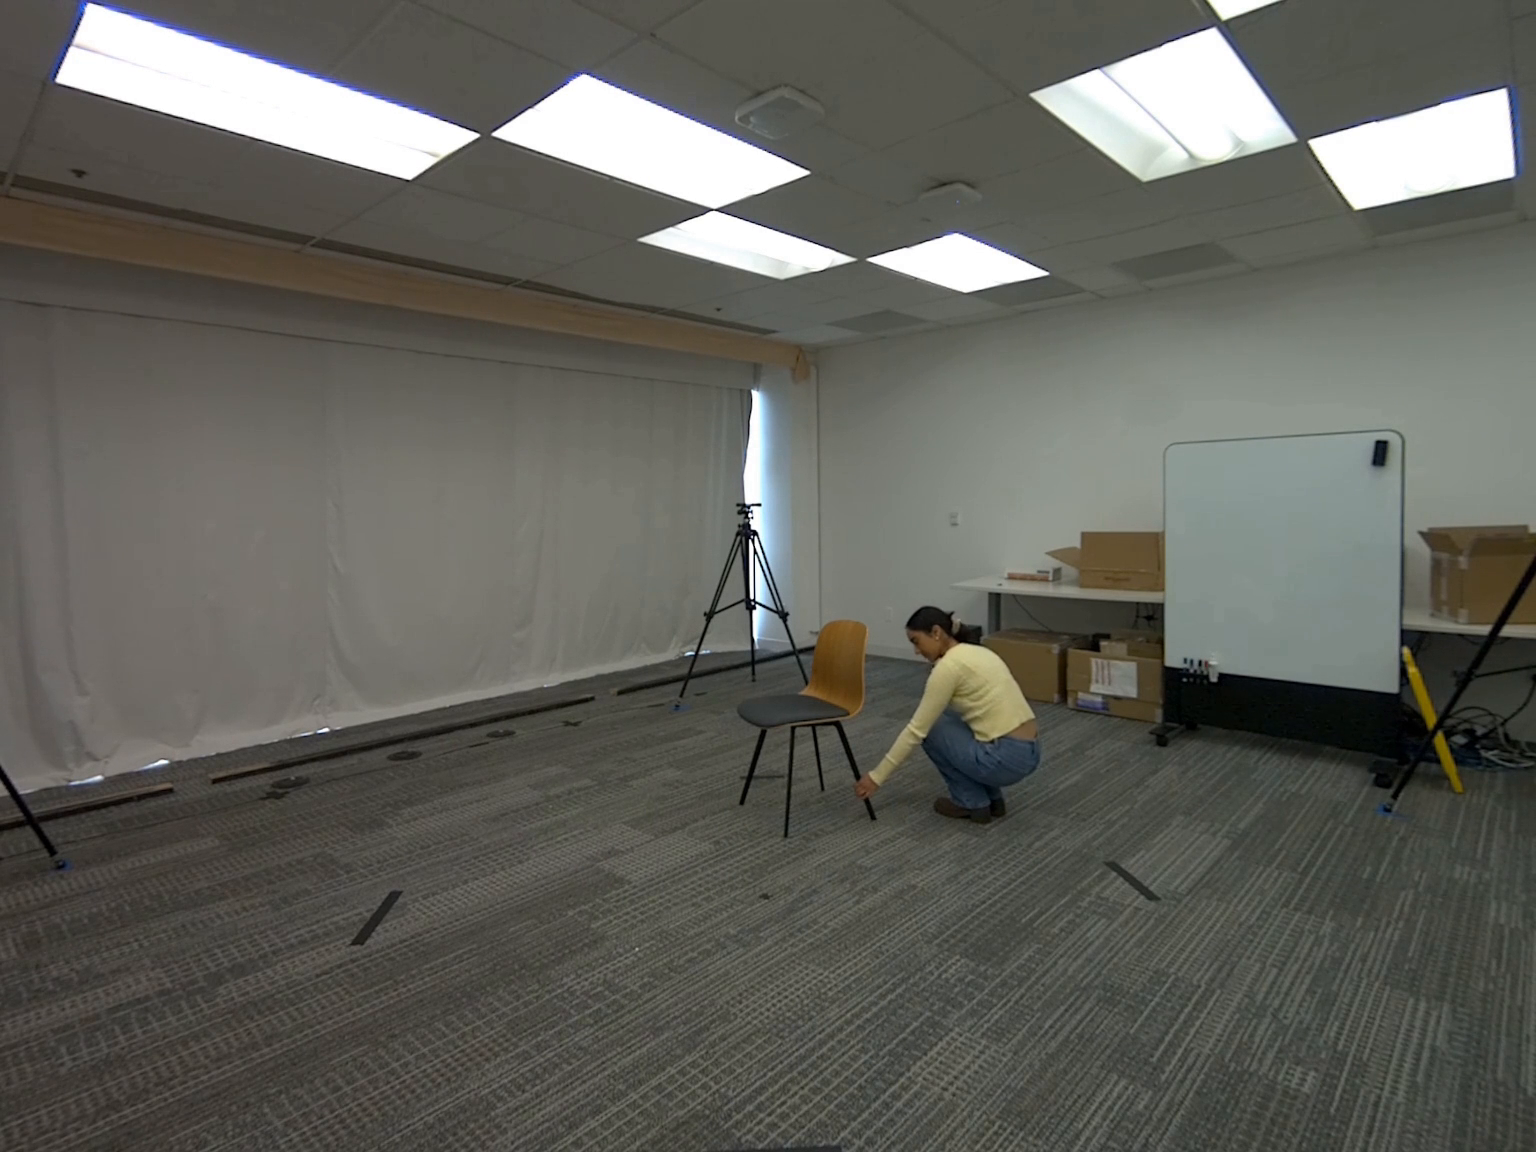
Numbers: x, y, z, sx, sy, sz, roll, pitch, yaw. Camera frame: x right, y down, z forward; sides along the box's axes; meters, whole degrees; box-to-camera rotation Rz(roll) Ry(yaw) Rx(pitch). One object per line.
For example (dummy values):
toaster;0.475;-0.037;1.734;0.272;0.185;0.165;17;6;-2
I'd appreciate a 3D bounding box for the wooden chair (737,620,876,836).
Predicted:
wooden chair;0.159;0.640;3.754;0.510;0.876;0.491;3;2;-26
